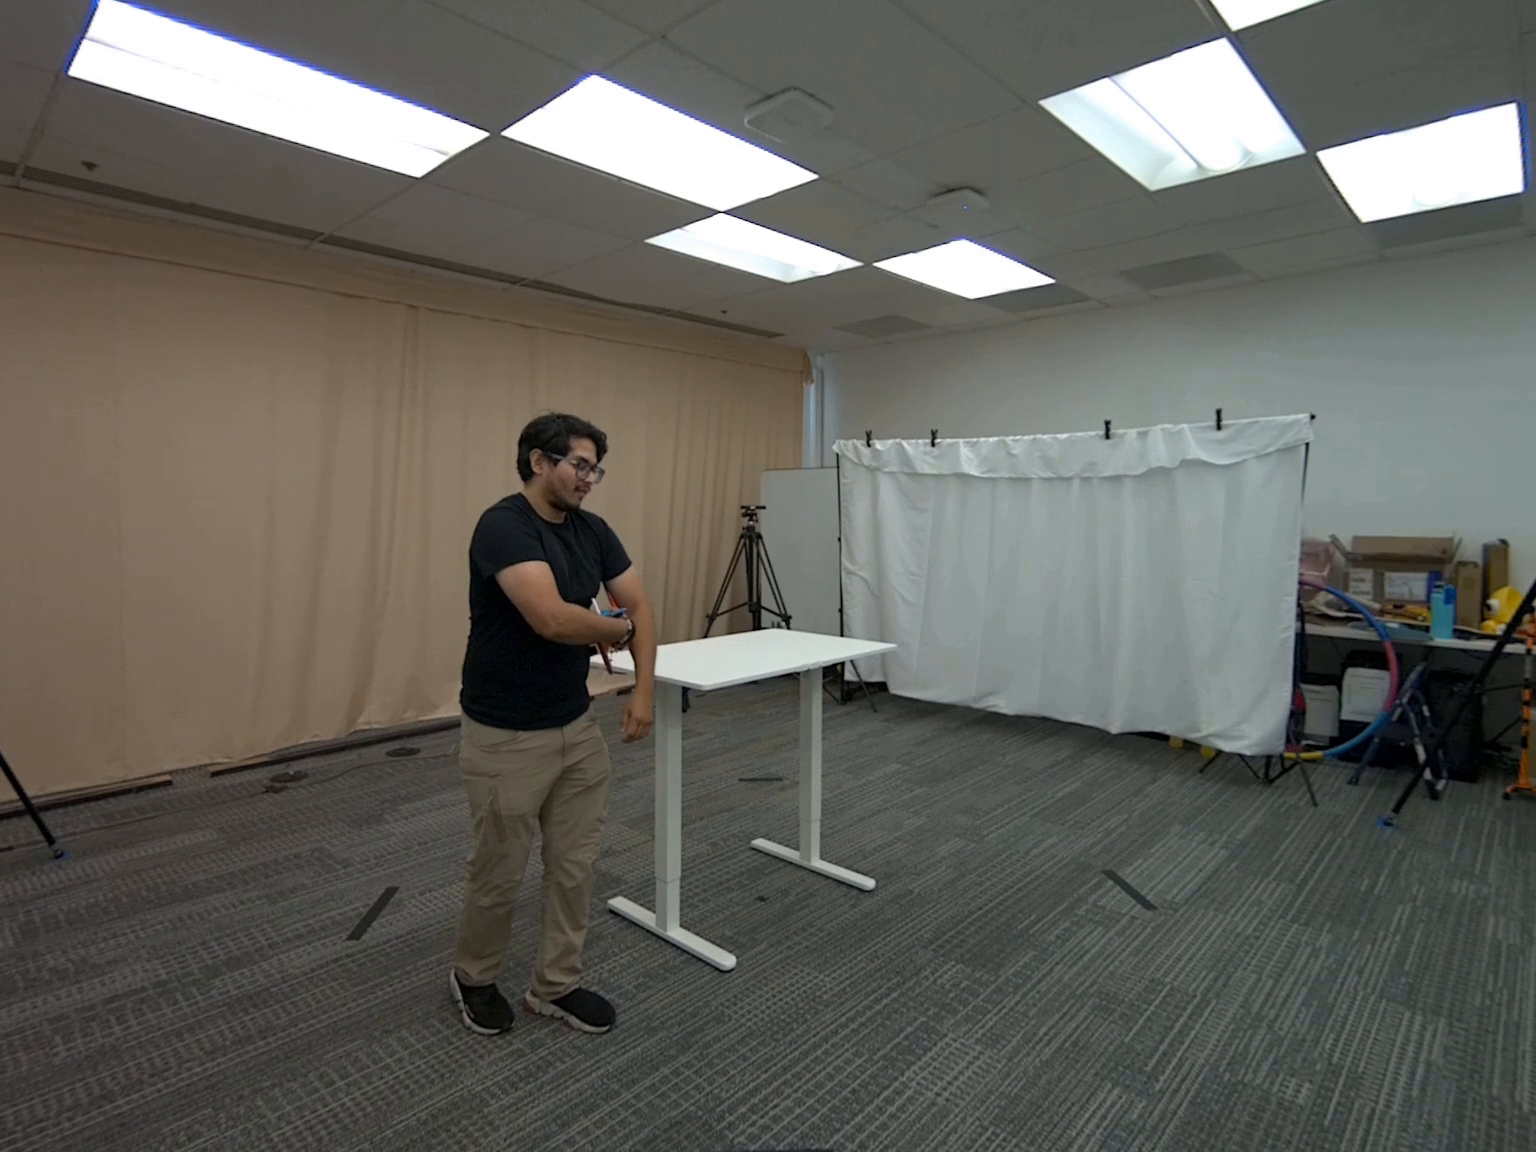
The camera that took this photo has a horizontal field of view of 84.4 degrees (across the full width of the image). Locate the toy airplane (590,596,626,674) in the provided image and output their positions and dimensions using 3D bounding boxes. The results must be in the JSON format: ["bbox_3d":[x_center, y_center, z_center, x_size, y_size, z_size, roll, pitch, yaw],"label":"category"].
[{"bbox_3d":[-0.453,0.159,2.322,0.152,0.249,0.268,-9,17,-34],"label":"toy airplane"}]
